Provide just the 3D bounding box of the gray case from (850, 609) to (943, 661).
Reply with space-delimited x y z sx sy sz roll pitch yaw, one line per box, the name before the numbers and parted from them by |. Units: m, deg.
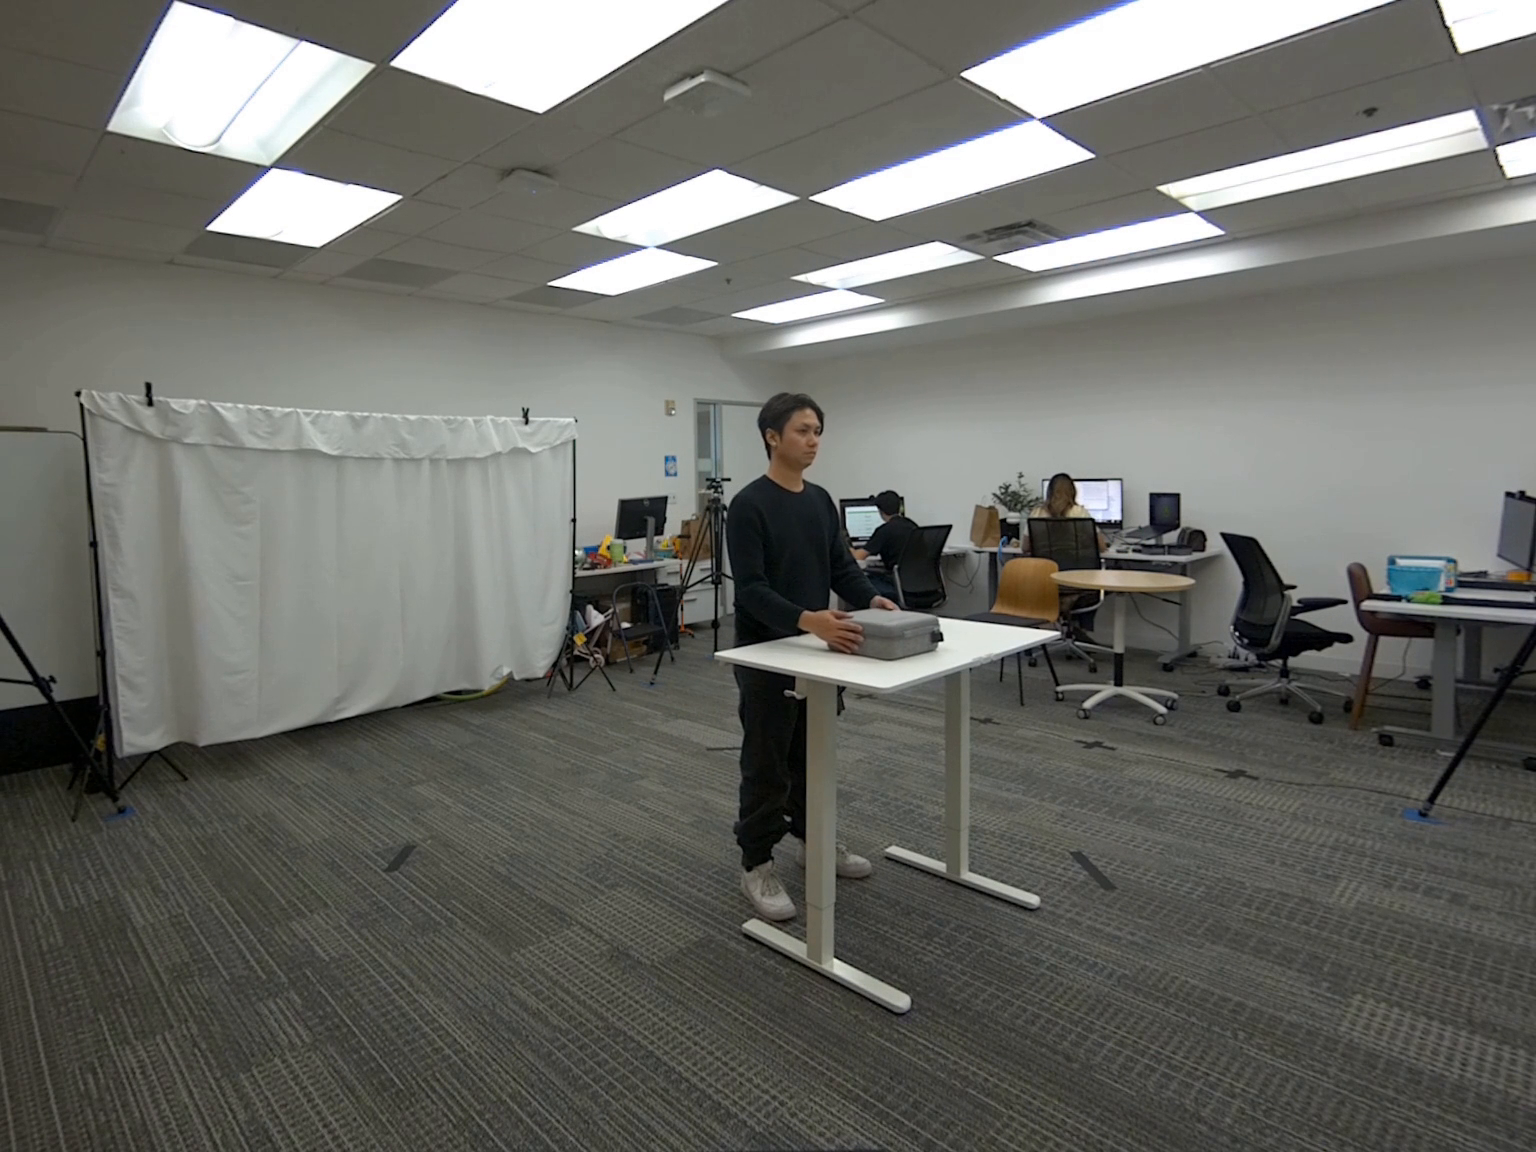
gray case | 0.342 0.168 2.517 0.250 0.104 0.269 -7 9 -42
